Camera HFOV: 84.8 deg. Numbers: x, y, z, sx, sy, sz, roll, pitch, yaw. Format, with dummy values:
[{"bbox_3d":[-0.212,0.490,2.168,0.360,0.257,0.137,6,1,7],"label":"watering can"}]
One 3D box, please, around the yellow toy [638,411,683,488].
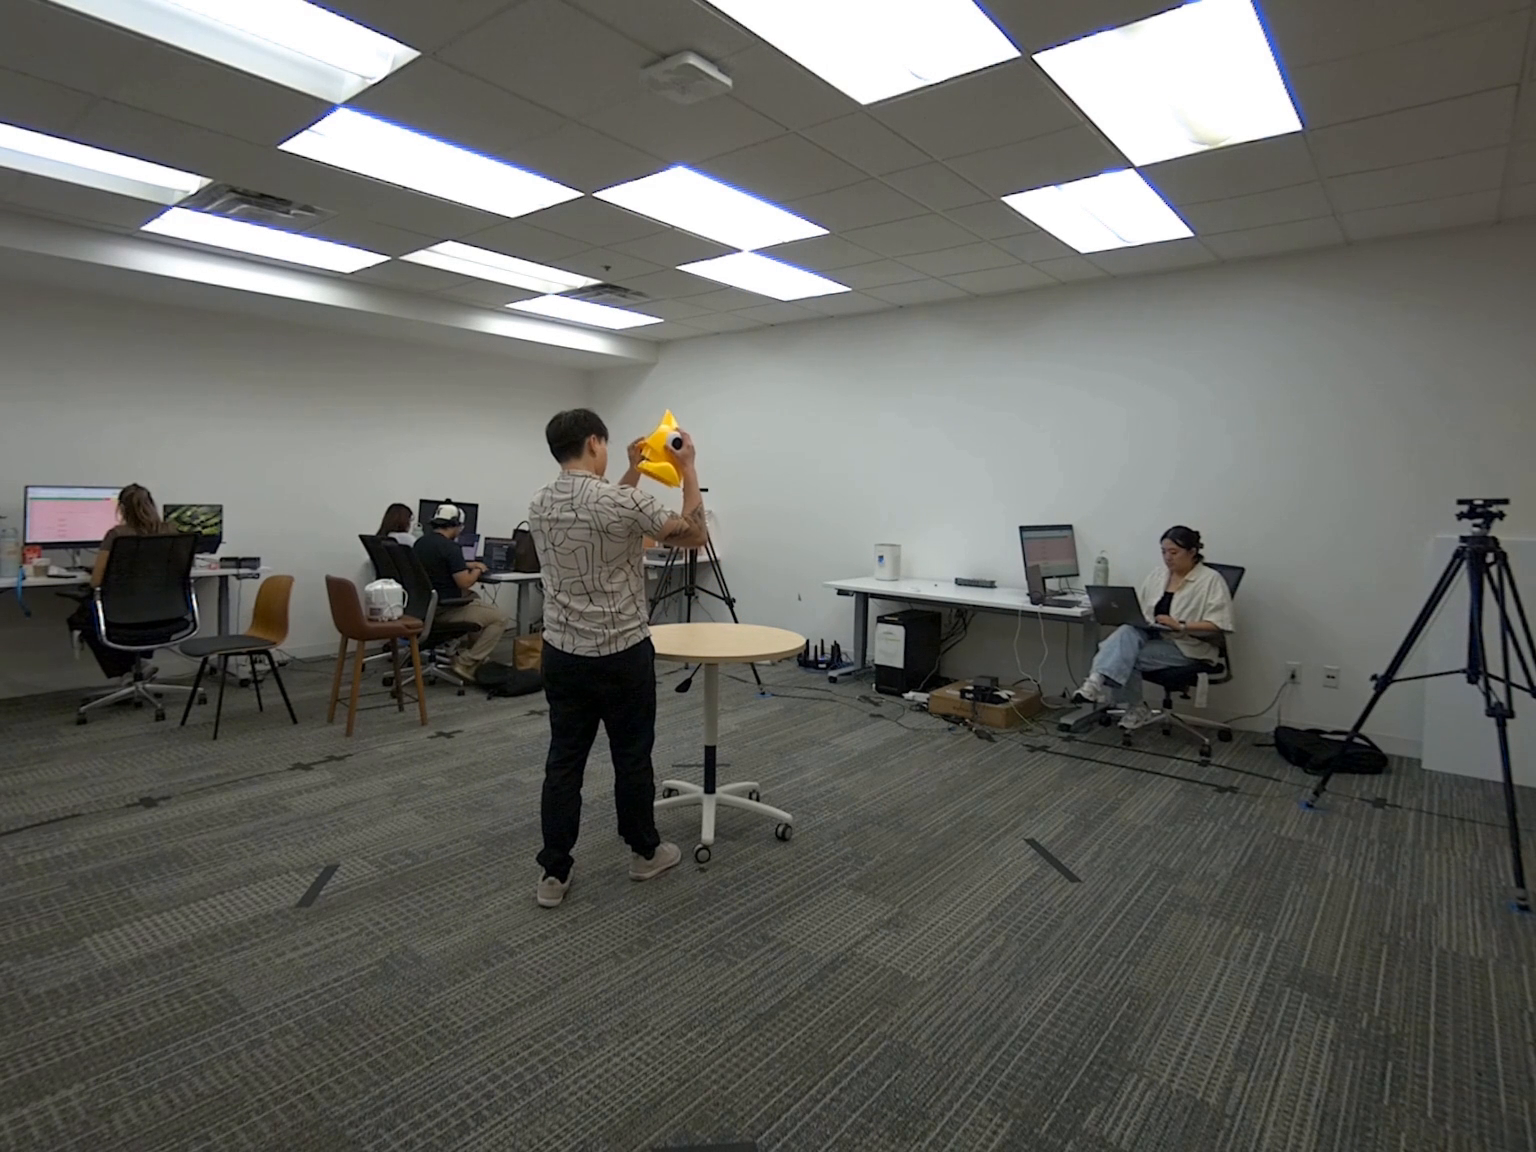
[{"bbox_3d":[-0.362,-0.450,2.964,0.189,0.231,0.209,26,-5,-17],"label":"yellow toy"}]
